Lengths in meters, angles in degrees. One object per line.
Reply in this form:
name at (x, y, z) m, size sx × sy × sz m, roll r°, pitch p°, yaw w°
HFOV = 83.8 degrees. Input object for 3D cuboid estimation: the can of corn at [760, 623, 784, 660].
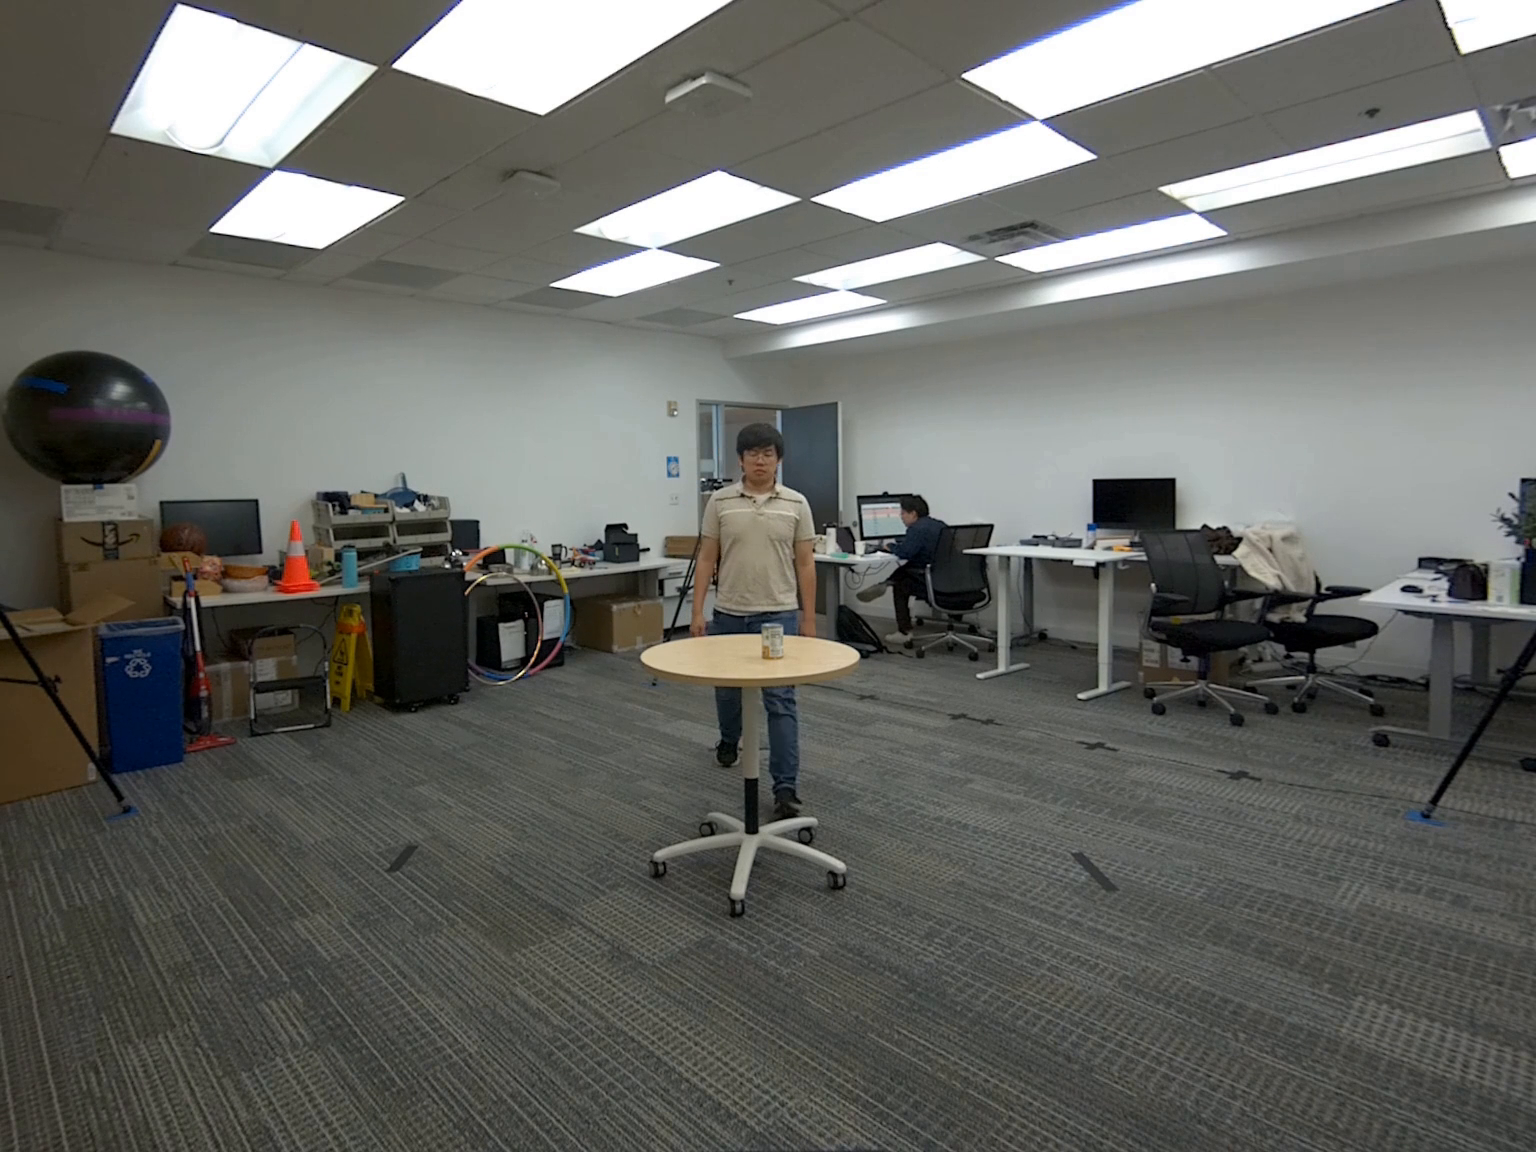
can of corn at (0.016, 0.231, 2.927) m, size 0.074 × 0.111 × 0.074 m, roll -4°, pitch 4°, yaw -1°
